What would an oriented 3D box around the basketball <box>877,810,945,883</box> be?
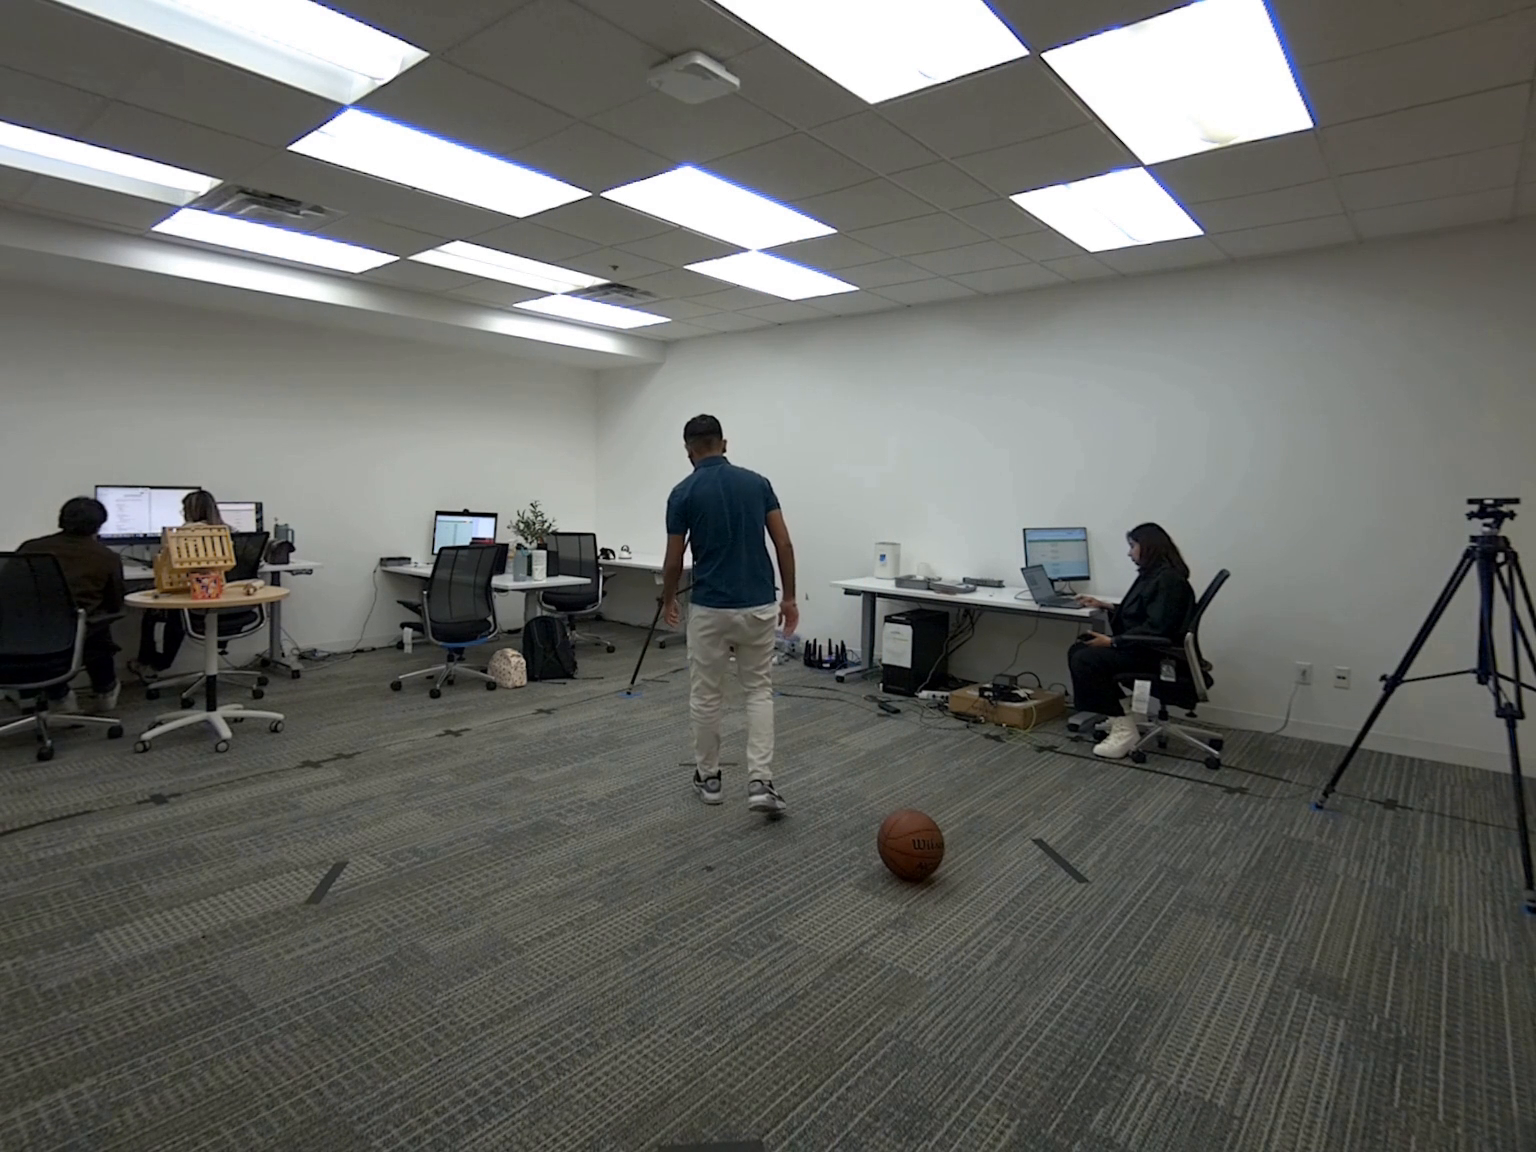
[{"bbox_3d":[0.506,0.964,3.079,0.235,0.235,0.237,1,4,-2],"label":"basketball"}]
